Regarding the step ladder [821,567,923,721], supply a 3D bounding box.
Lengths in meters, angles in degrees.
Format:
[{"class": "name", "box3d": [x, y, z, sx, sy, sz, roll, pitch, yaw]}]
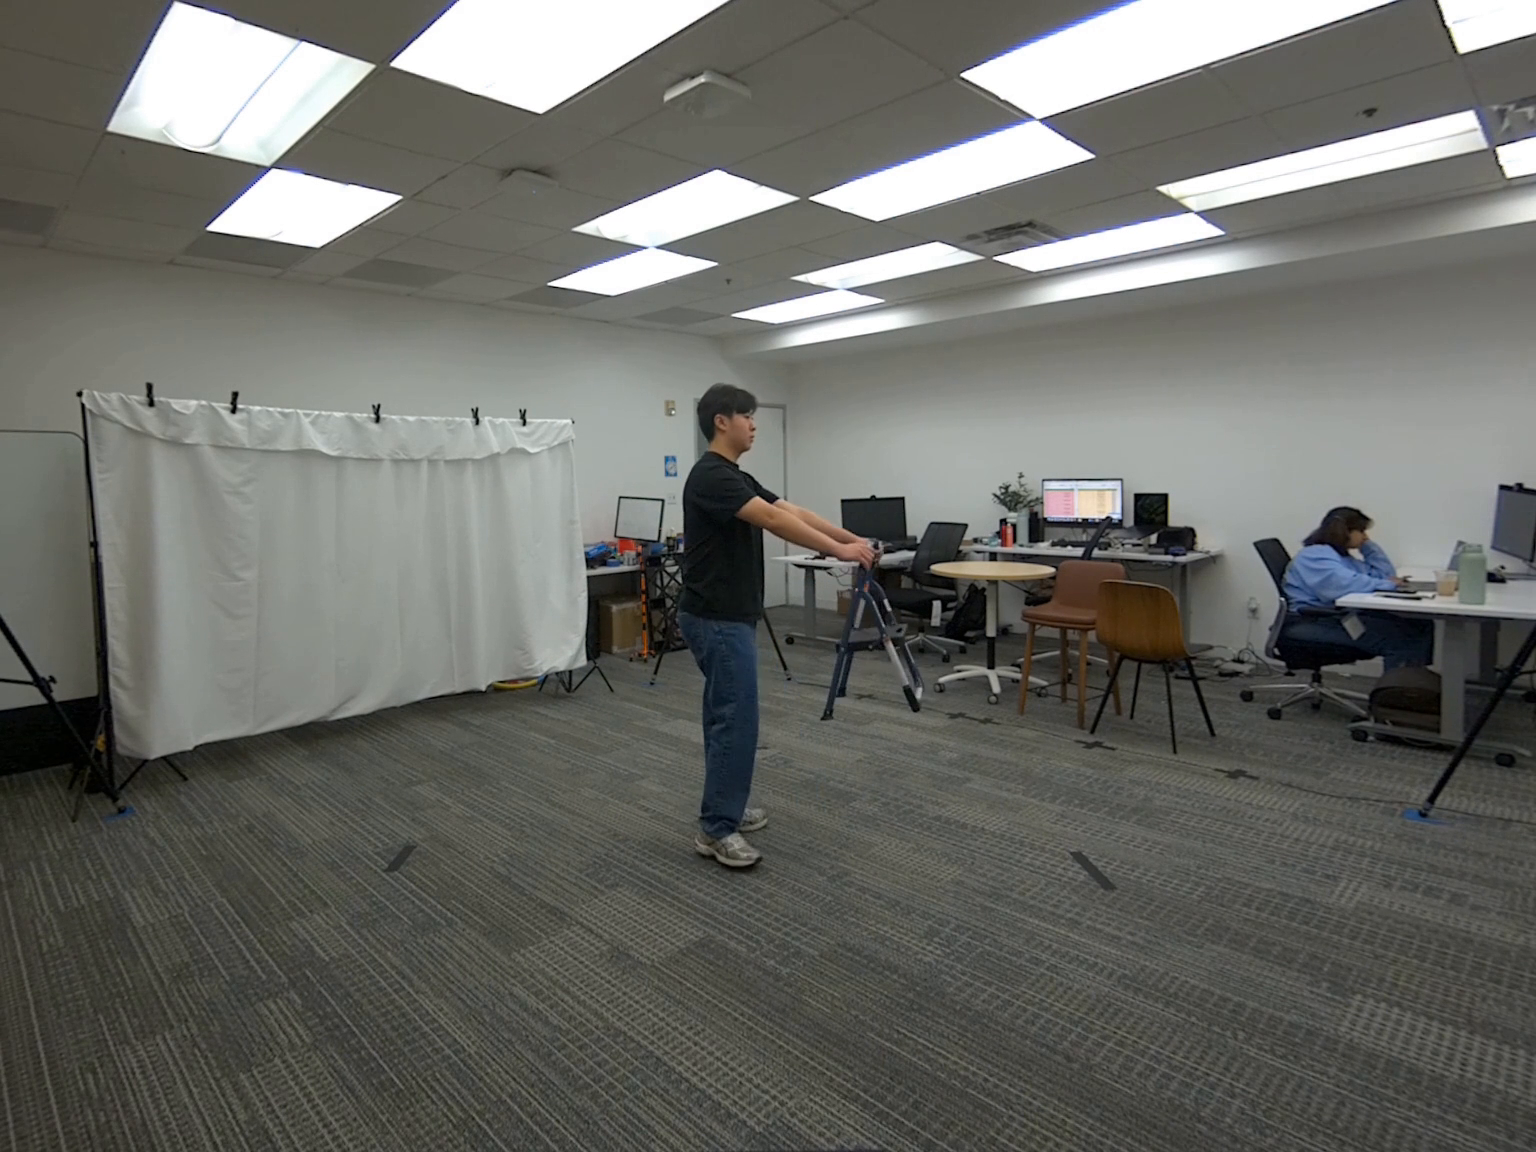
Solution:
[{"class": "step ladder", "box3d": [0.348, 0.182, 3.173, 0.353, 0.606, 0.426, -8, 0, 12]}]
